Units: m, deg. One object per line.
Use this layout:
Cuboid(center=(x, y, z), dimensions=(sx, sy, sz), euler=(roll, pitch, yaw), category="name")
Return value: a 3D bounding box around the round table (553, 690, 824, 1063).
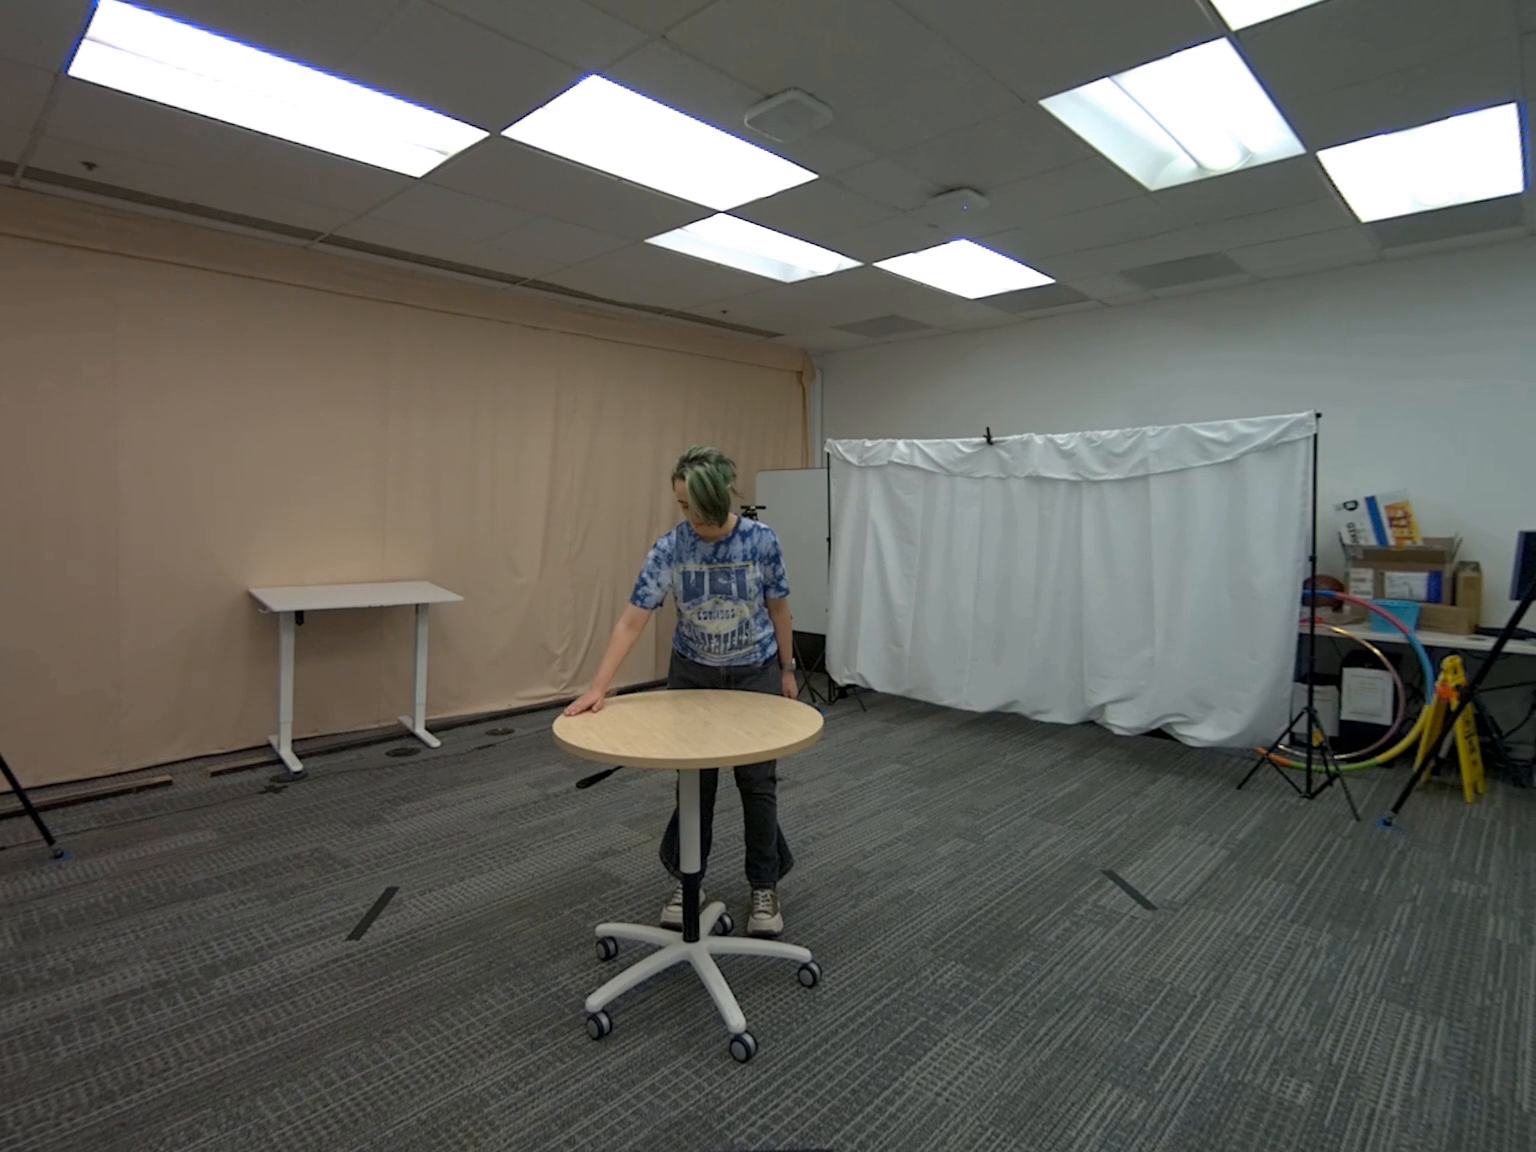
Cuboid(center=(-0.231, 0.795, 2.434), dimensions=(0.784, 0.785, 0.788), euler=(0, 4, -2), category="round table")
